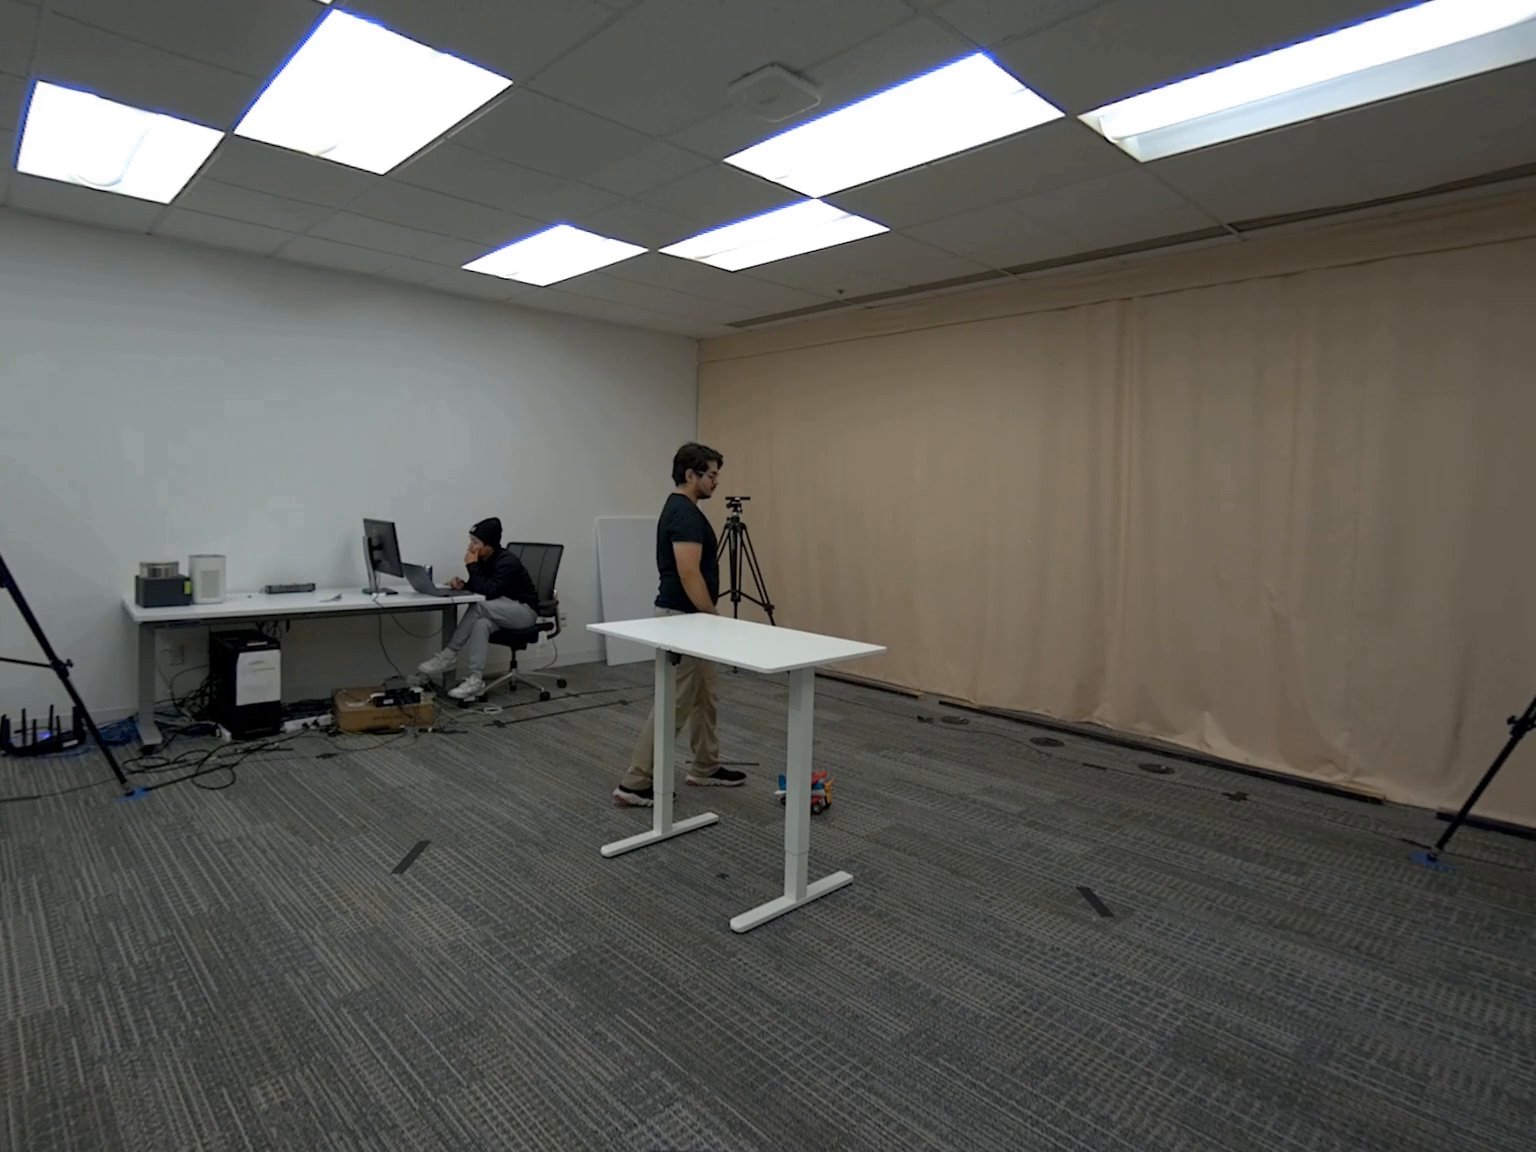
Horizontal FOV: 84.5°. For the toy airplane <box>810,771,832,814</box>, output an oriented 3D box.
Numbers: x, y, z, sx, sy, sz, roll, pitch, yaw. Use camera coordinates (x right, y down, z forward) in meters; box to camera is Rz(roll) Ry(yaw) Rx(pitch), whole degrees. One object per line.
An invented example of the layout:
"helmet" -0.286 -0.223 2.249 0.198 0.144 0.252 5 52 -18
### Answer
"toy airplane" 0.150 0.979 3.808 0.259 0.156 0.251 4 4 1
